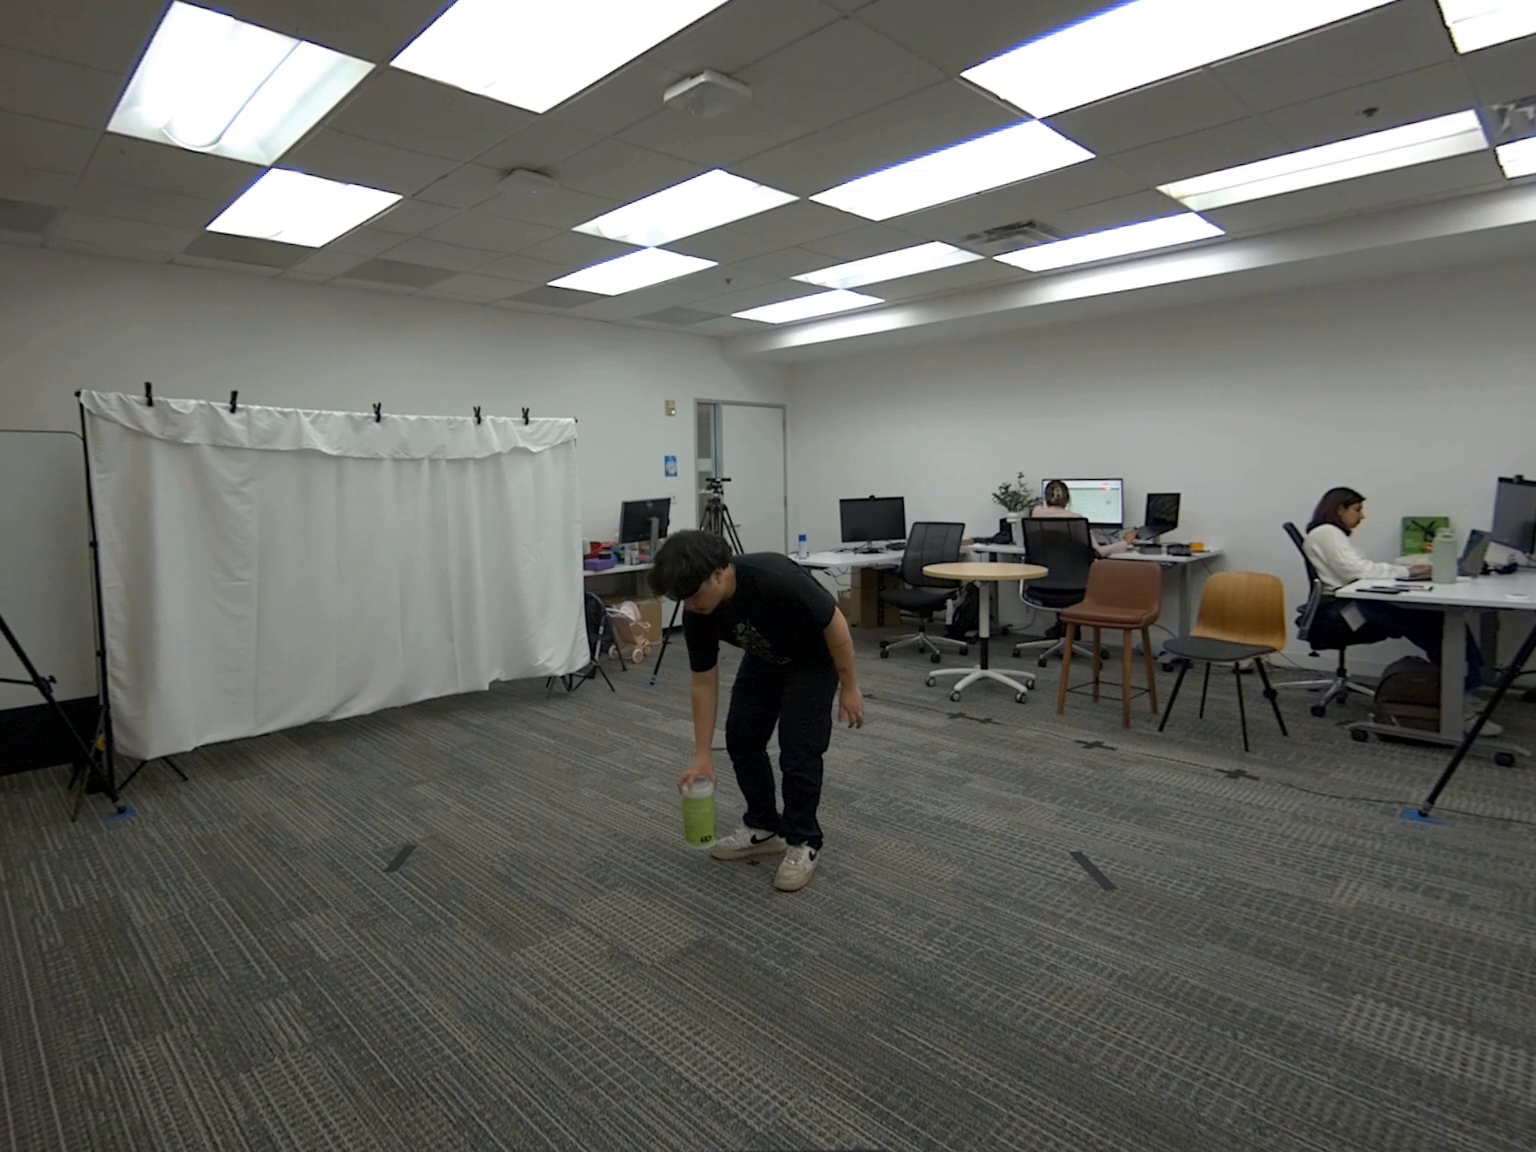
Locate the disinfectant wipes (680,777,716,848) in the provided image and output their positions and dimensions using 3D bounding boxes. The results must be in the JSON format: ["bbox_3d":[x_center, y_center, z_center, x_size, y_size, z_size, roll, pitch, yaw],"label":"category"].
[{"bbox_3d":[-0.236,0.809,2.915,0.118,0.215,0.119,-2,9,-1],"label":"disinfectant wipes"}]
